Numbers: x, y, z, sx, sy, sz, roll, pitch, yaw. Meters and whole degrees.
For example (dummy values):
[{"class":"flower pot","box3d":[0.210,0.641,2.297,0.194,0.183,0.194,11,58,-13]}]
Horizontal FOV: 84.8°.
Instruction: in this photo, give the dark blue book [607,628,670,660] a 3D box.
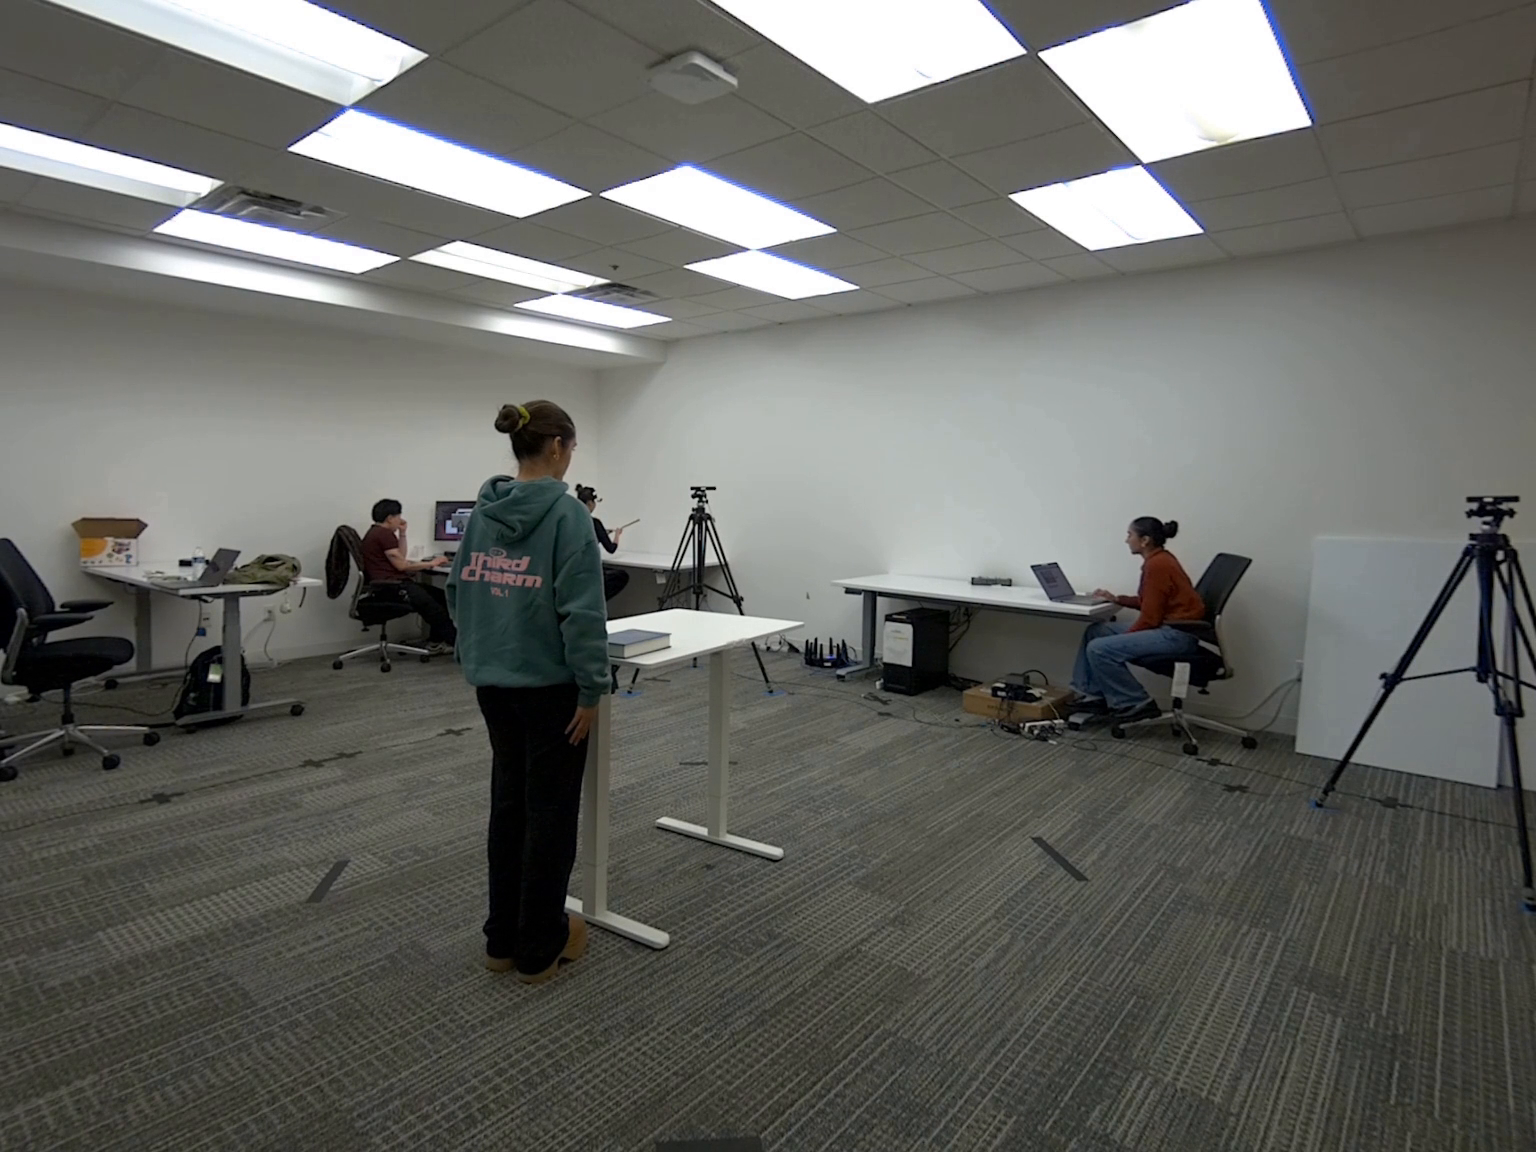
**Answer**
[{"class":"dark blue book","box3d":[-0.436,0.208,2.613,0.168,0.045,0.239,3,6,27]}]
